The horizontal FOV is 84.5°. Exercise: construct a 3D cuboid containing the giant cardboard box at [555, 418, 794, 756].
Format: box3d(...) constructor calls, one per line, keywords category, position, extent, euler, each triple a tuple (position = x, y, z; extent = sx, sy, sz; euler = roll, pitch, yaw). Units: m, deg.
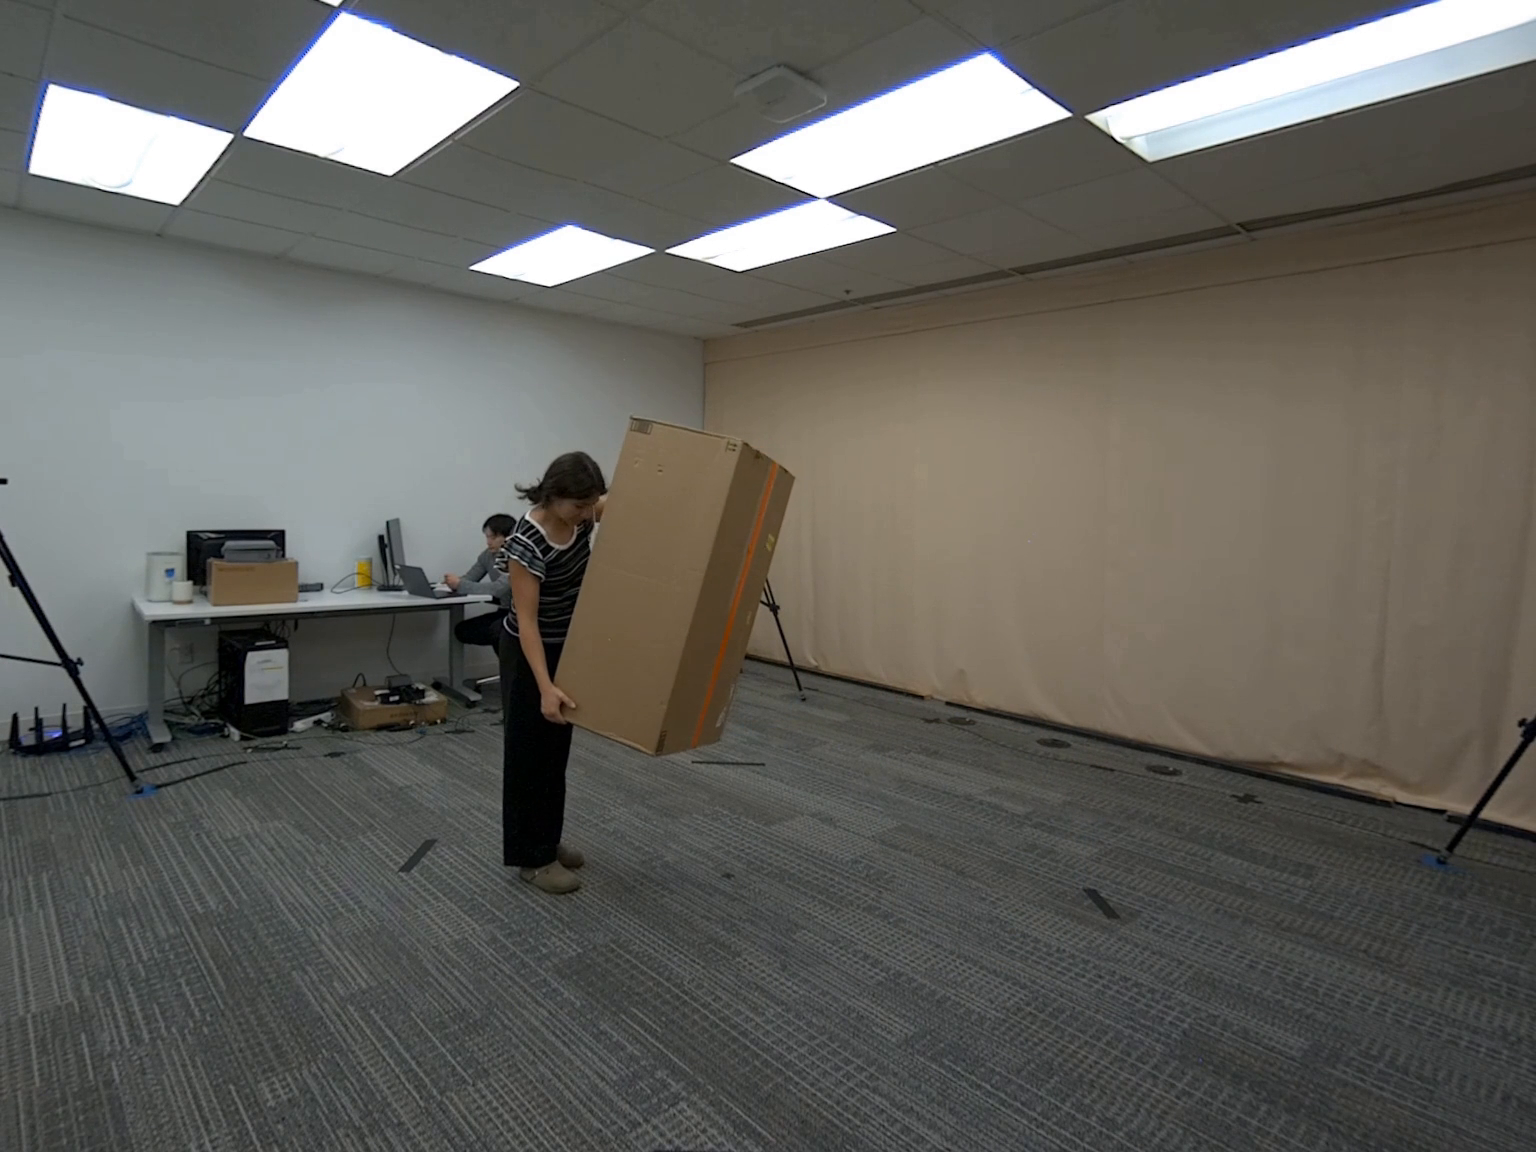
box3d(category="giant cardboard box", position=(-0.316, 0.044, 2.940), extent=(0.434, 1.027, 0.566), euler=(15, -2, 20))
